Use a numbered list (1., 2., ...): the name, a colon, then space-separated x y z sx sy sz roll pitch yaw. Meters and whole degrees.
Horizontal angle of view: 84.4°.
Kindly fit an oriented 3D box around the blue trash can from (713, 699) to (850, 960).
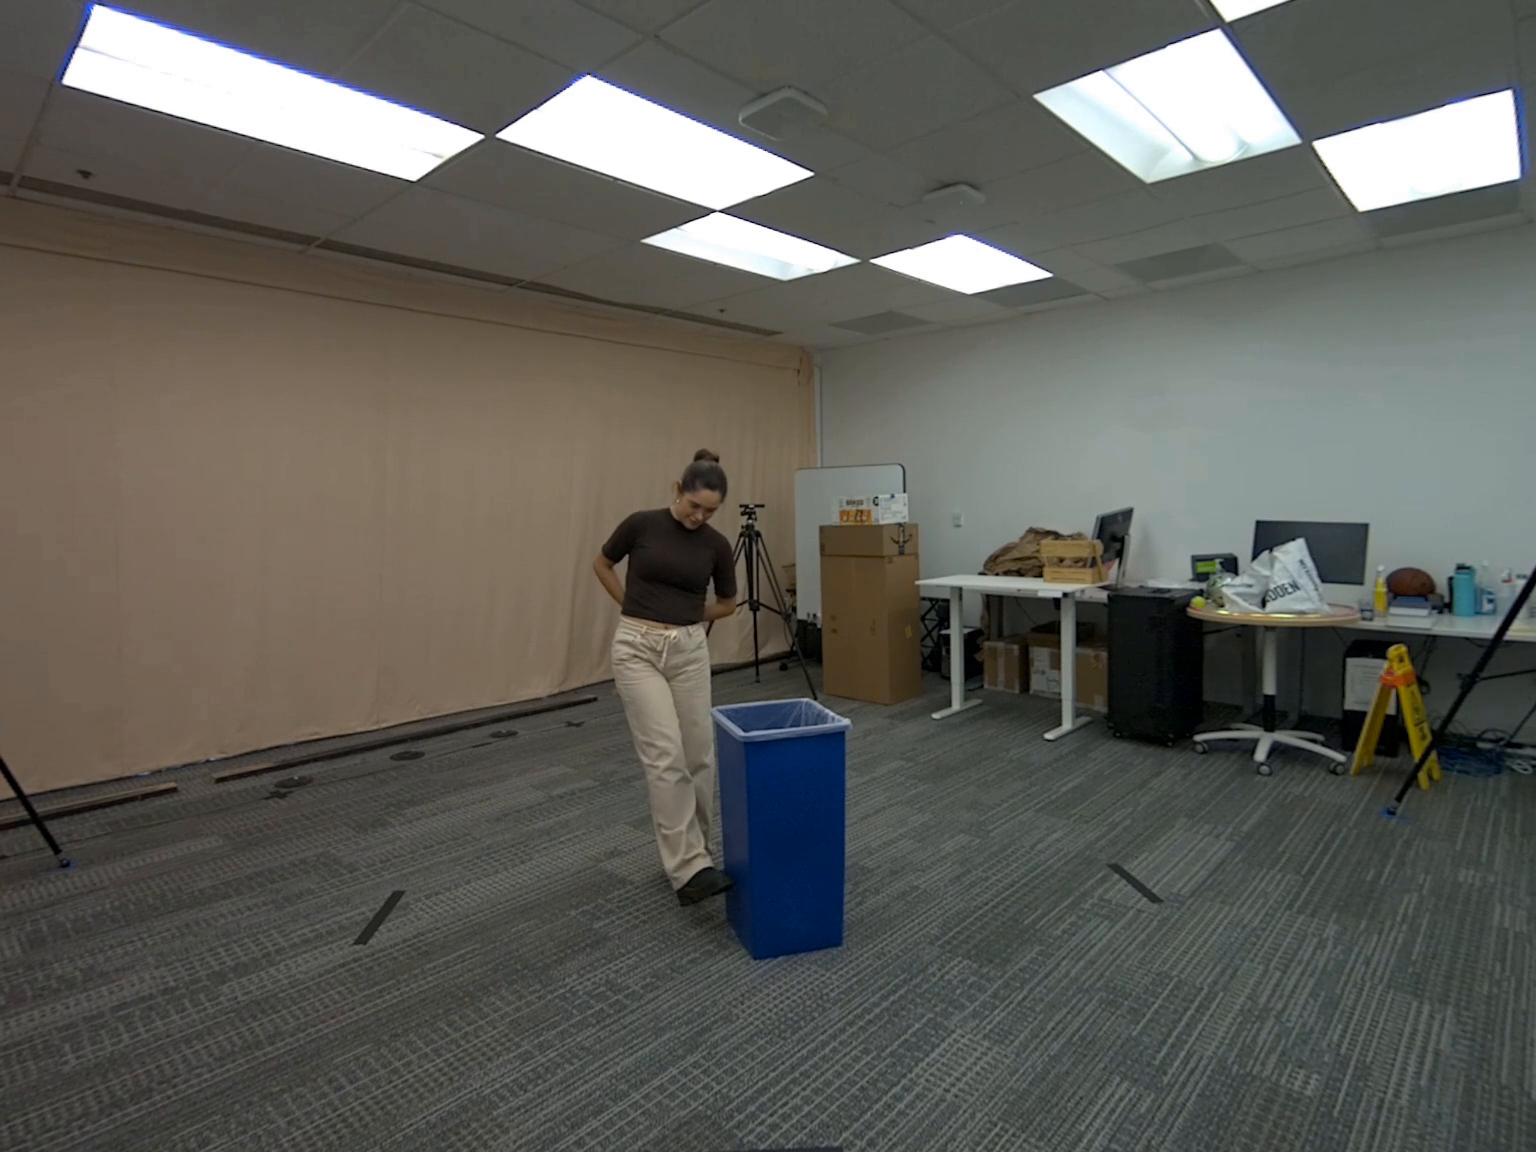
1. blue trash can: 0.042 0.800 2.734 0.371 0.712 0.382 -2 3 -19
